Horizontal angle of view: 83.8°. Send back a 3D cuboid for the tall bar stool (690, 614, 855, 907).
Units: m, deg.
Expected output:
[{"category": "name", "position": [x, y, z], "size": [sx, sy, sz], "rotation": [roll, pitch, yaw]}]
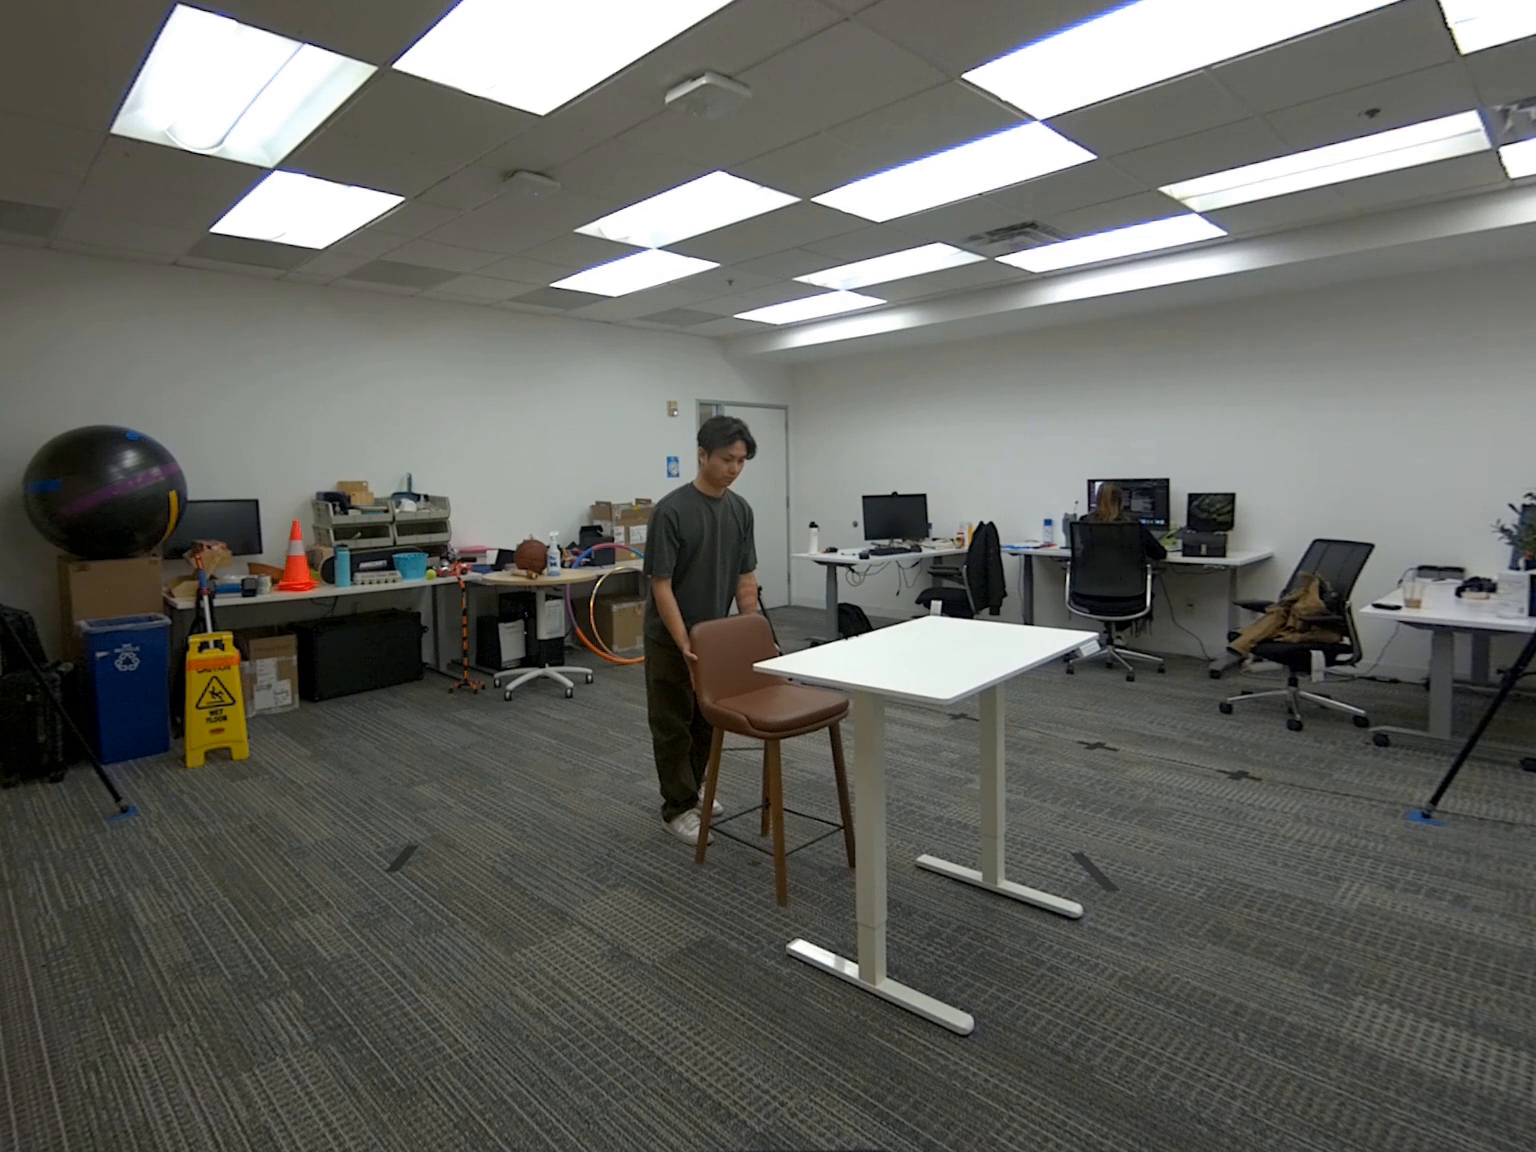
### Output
[{"category": "tall bar stool", "position": [0.016, 0.610, 3.063], "size": [0.481, 0.888, 0.444], "rotation": [1, 4, 45]}]
